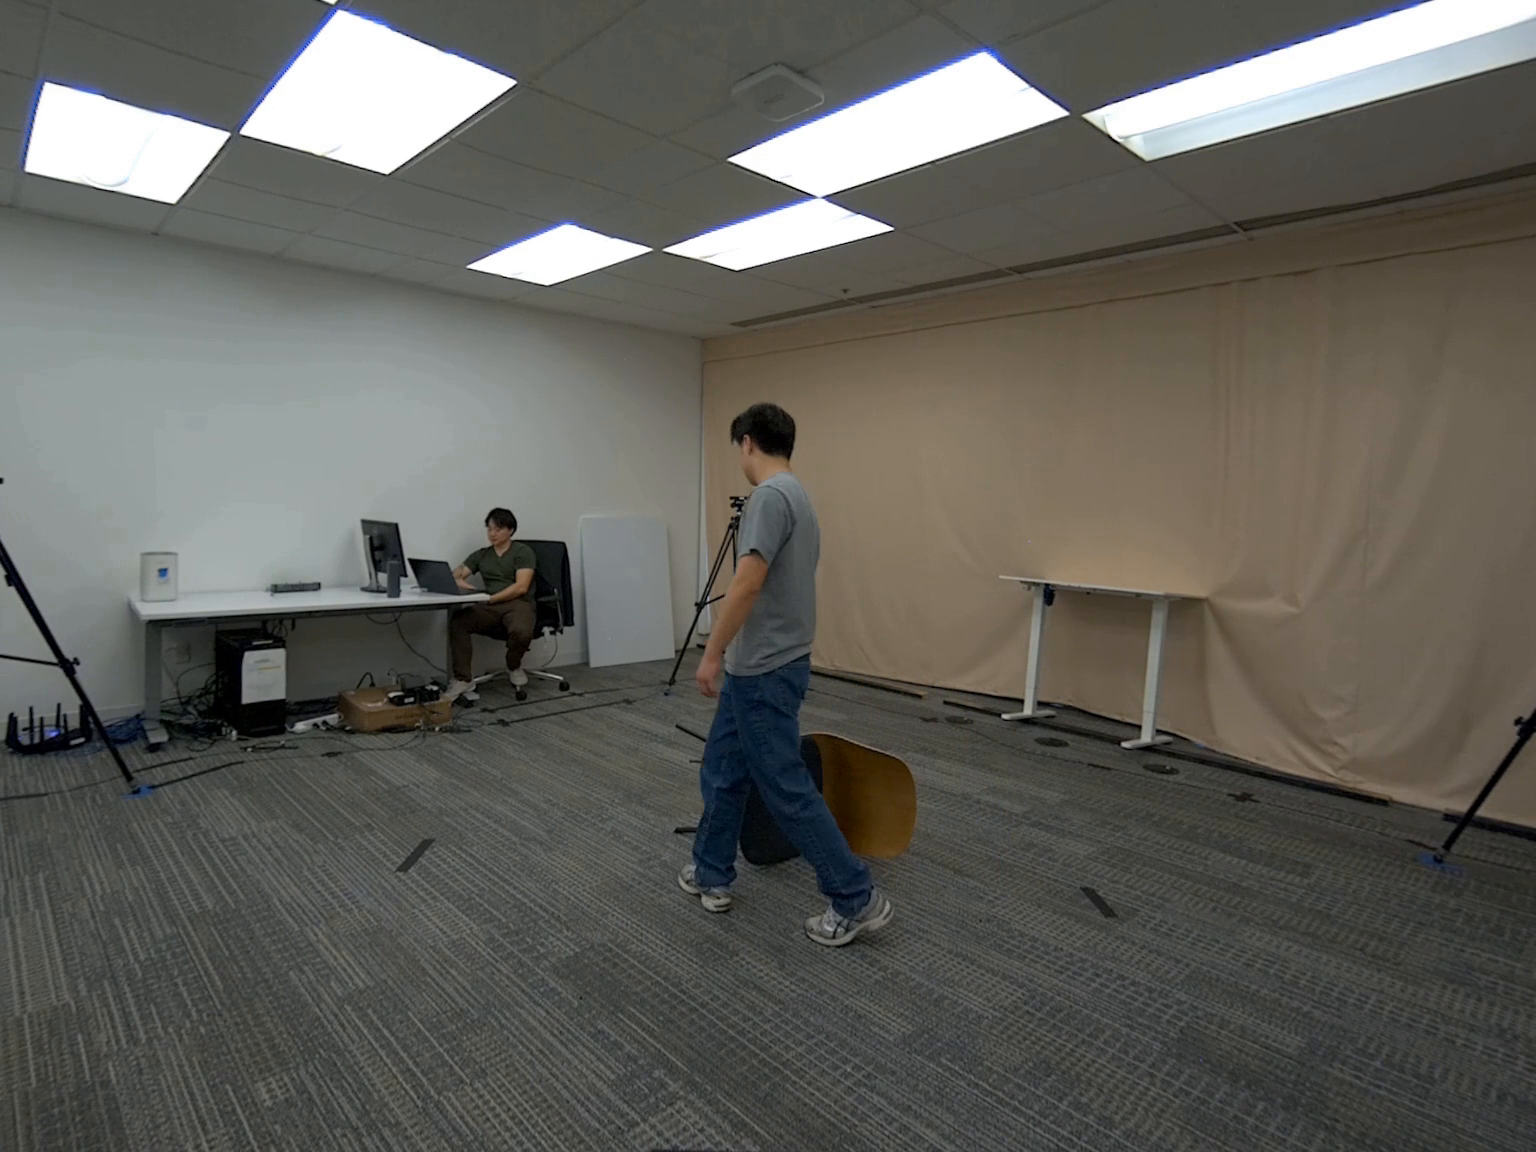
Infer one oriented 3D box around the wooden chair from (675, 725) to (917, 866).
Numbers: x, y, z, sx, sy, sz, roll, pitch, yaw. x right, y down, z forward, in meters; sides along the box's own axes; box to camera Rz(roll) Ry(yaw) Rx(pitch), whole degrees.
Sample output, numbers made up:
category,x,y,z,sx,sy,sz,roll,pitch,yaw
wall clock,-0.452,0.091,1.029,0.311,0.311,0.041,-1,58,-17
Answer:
category,x,y,z,sx,sy,sz,roll,pitch,yaw
wooden chair,0.060,0.859,3.303,0.899,0.477,0.511,5,5,42
